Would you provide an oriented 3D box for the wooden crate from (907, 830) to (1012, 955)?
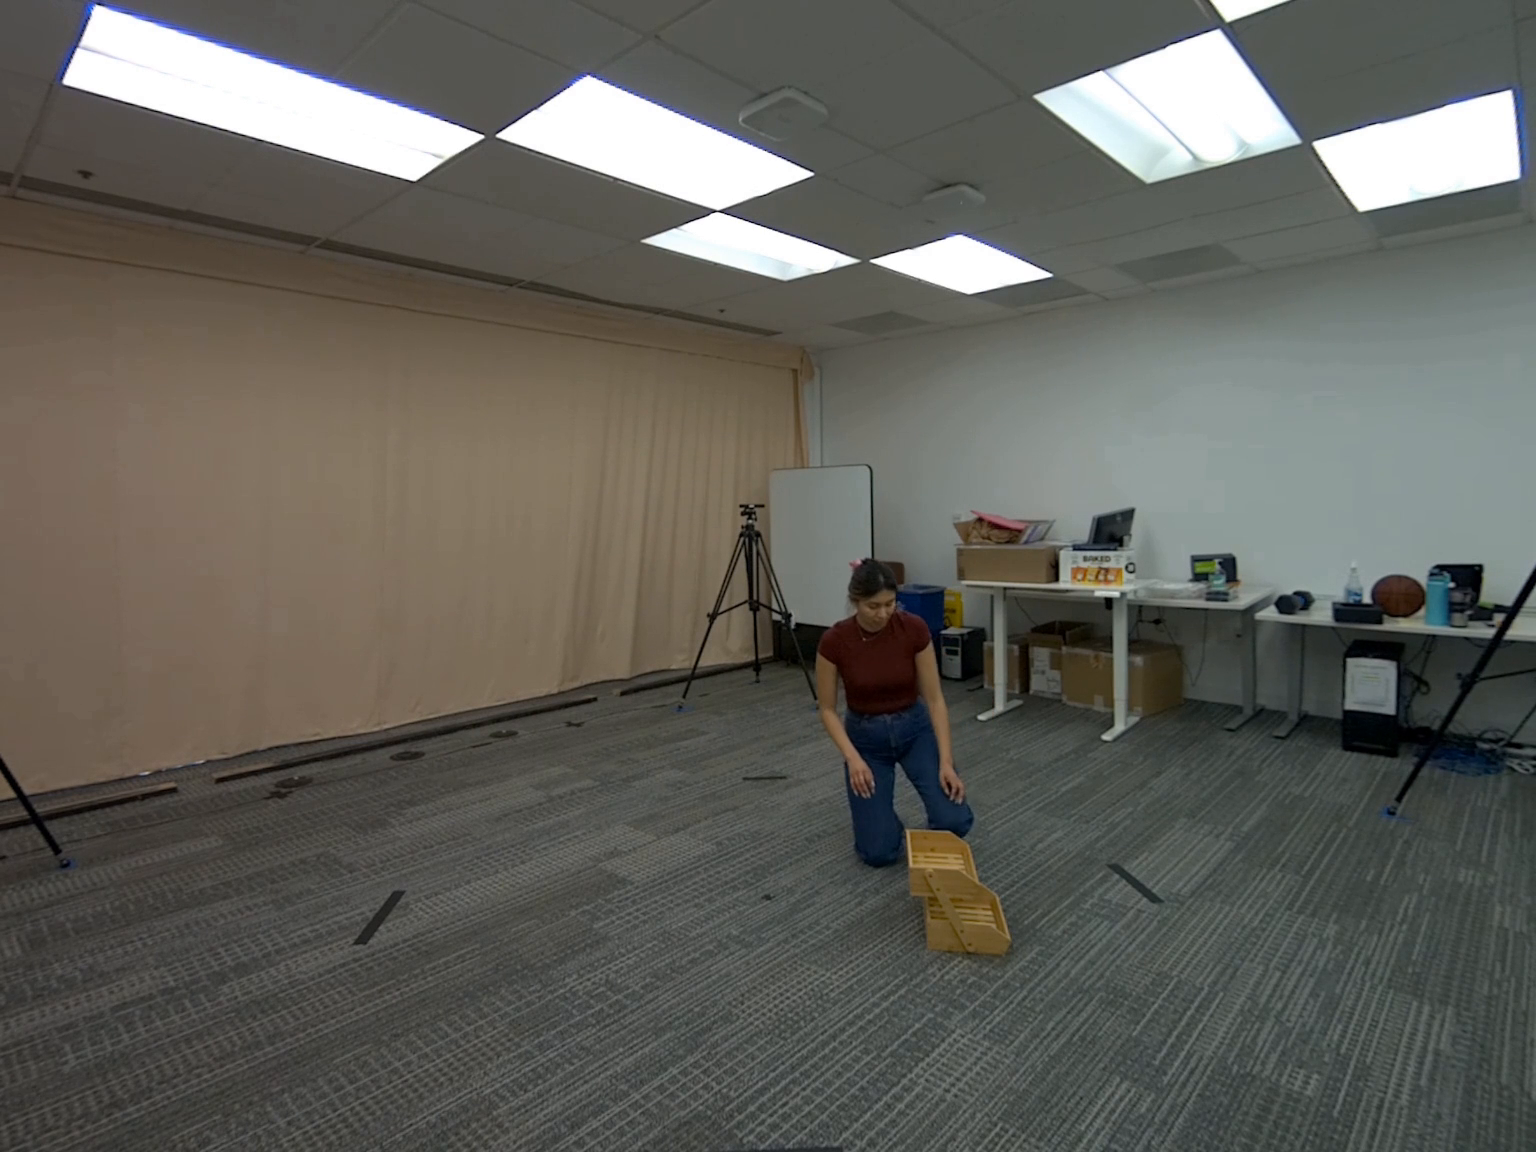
[{"bbox_3d":[0.623,1.013,2.742,0.305,0.273,0.322,0,4,8],"label":"wooden crate"}]
